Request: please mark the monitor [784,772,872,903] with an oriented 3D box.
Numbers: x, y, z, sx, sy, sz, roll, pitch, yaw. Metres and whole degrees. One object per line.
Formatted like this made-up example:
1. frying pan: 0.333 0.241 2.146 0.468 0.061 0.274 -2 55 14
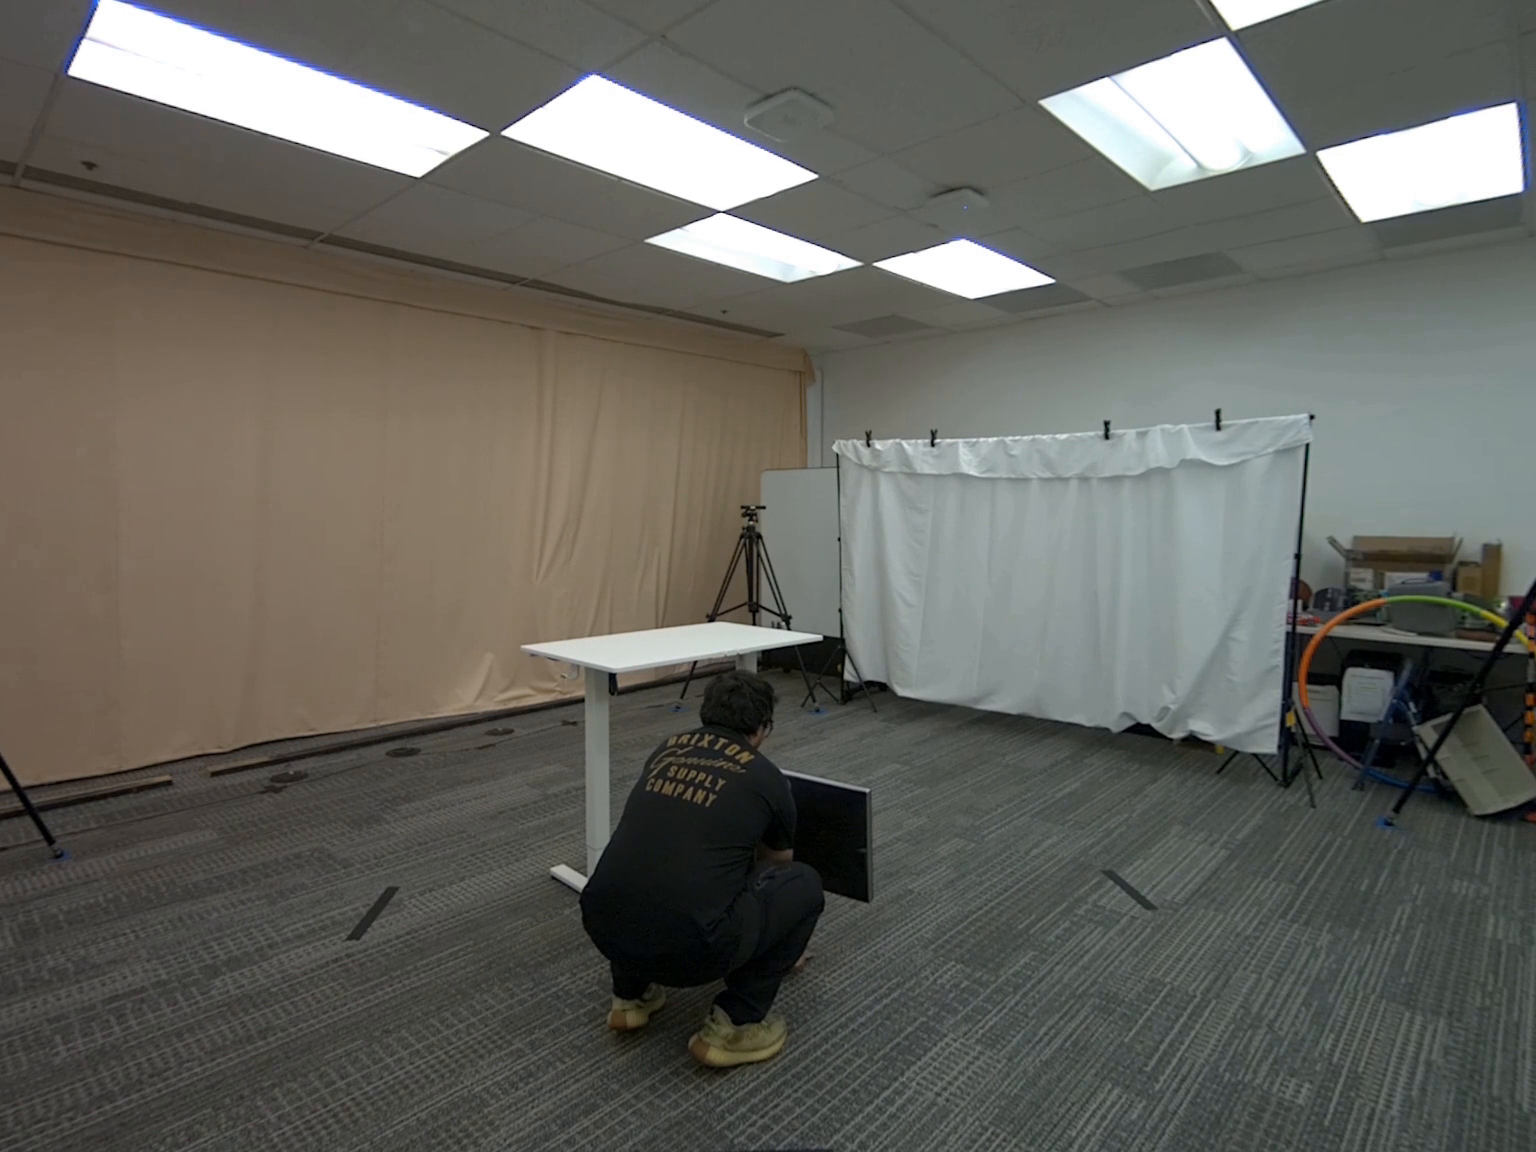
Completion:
1. monitor: 0.043 0.891 2.616 0.583 0.553 0.204 4 2 33
